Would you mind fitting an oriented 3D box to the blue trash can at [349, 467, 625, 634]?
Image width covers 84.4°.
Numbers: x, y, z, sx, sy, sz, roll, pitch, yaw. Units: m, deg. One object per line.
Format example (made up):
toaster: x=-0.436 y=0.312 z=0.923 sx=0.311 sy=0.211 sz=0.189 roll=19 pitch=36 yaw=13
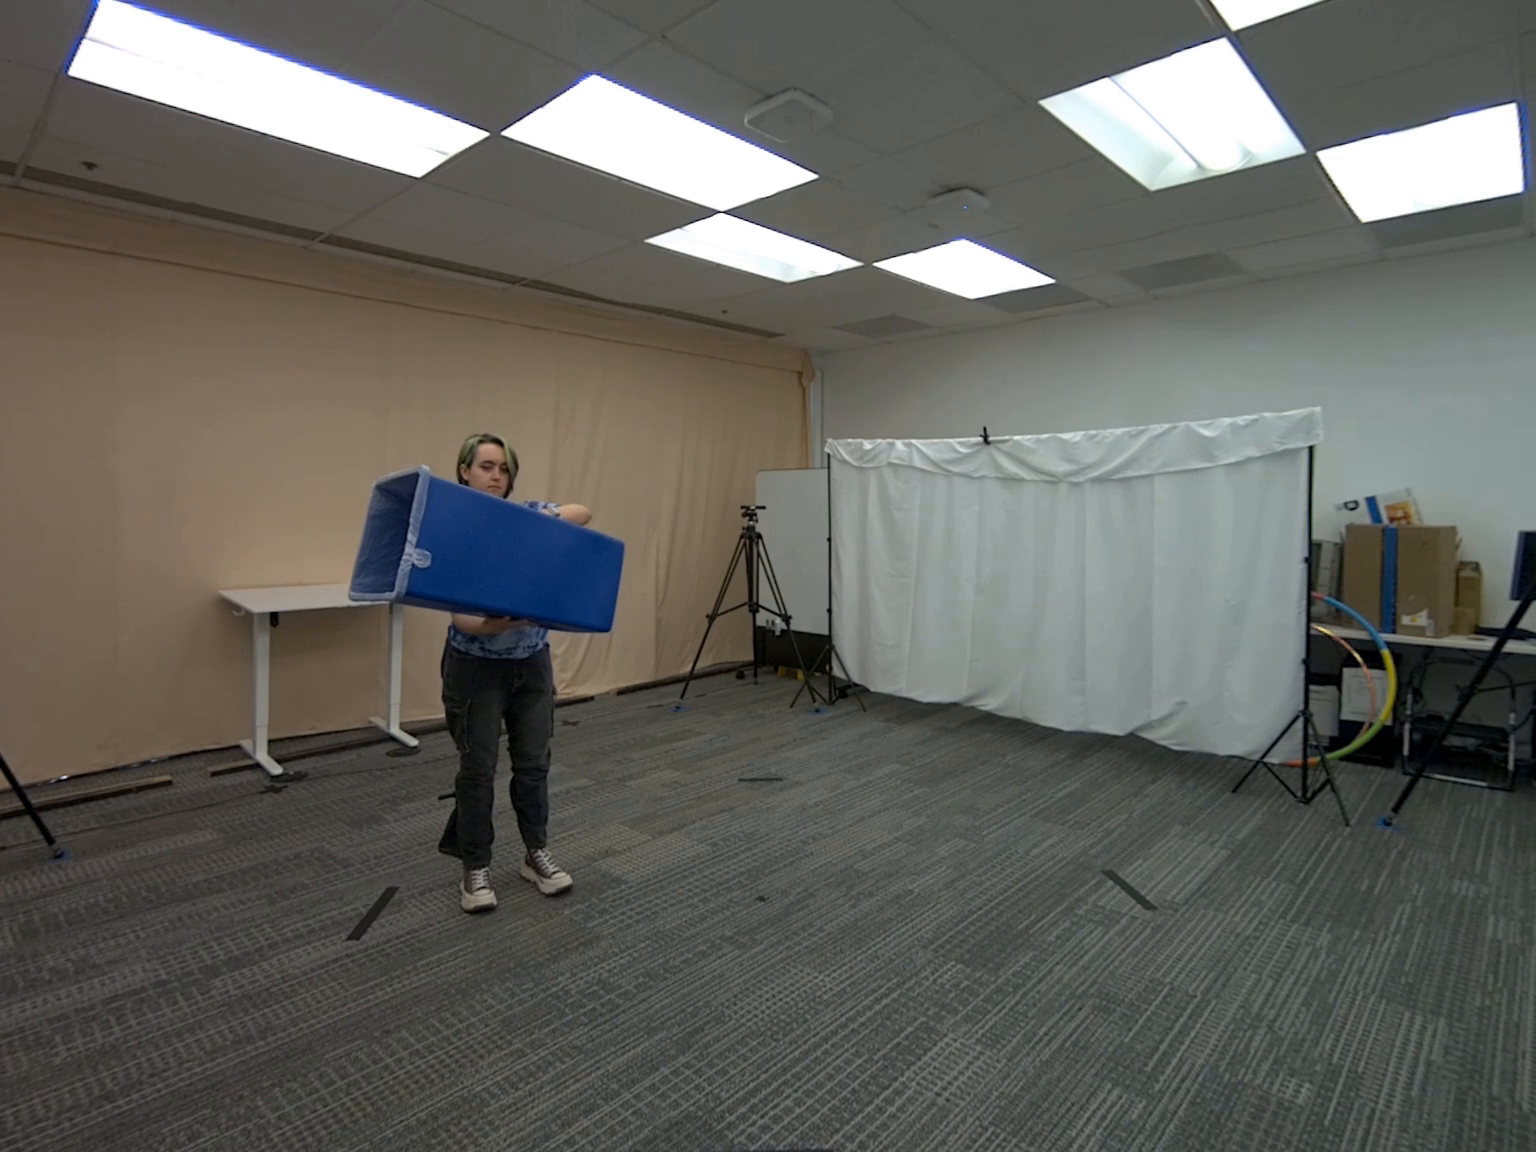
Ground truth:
blue trash can: x=-0.828 y=-0.034 z=2.570 sx=0.385 sy=0.380 sz=0.688 roll=-4 pitch=-17 yaw=45
